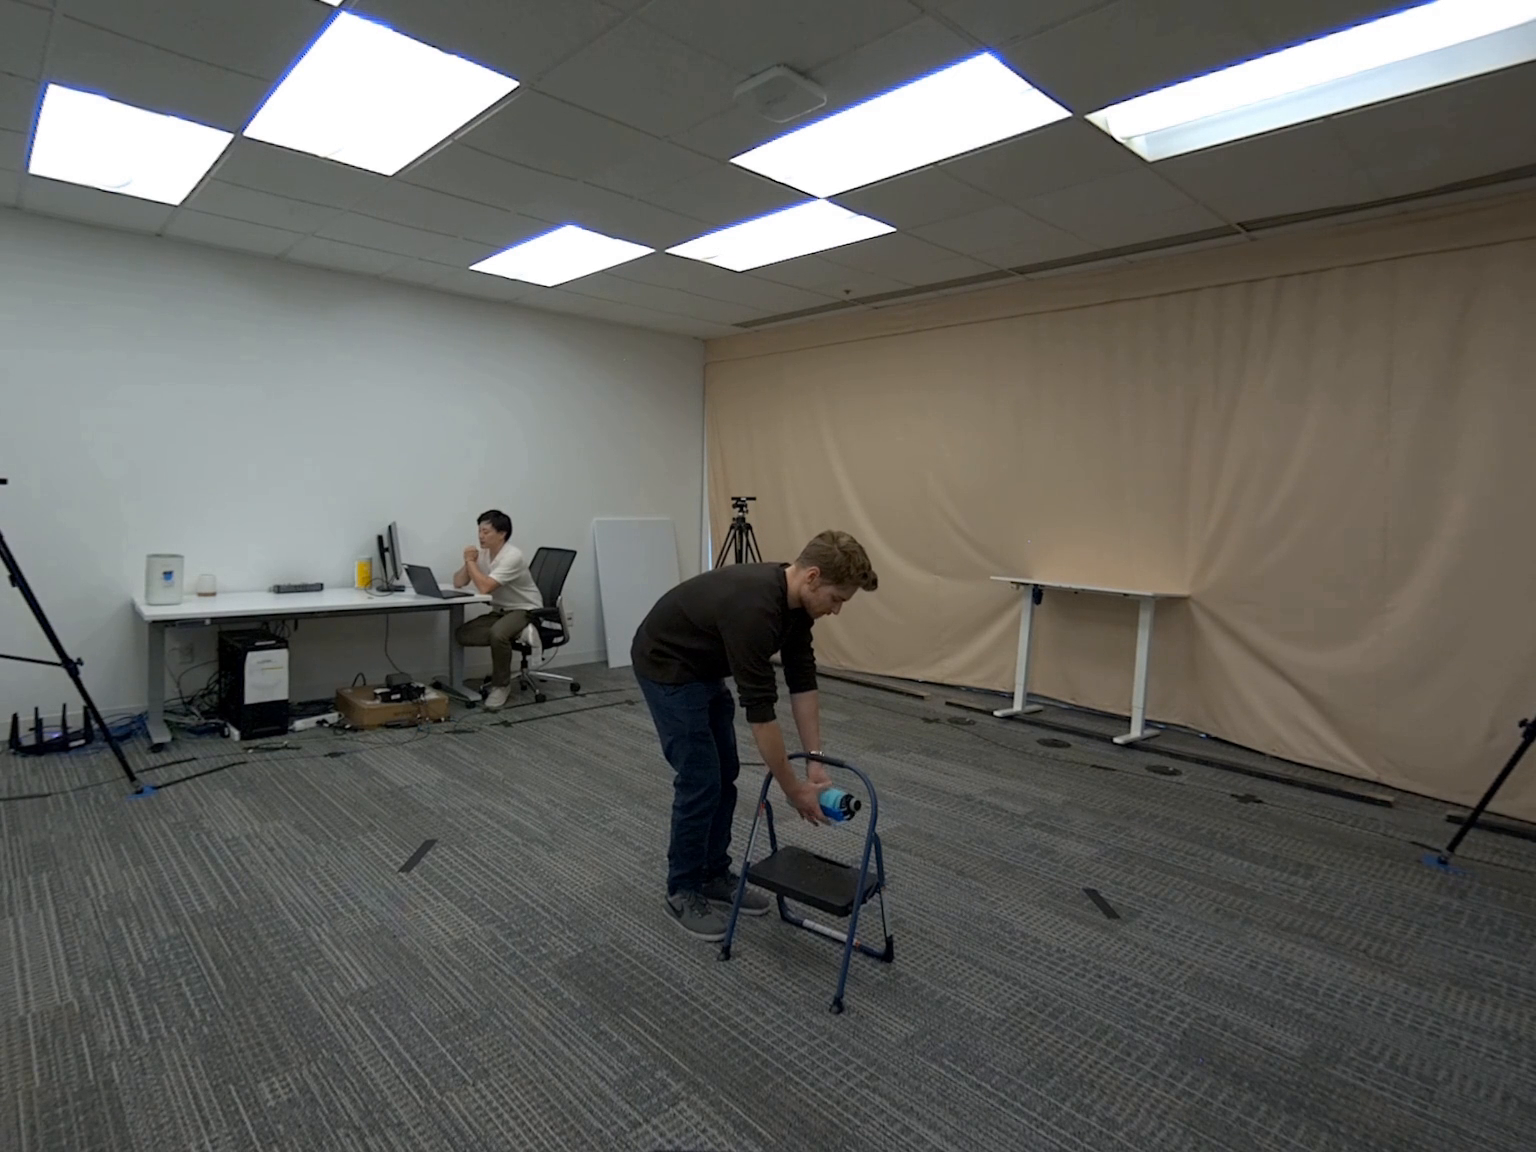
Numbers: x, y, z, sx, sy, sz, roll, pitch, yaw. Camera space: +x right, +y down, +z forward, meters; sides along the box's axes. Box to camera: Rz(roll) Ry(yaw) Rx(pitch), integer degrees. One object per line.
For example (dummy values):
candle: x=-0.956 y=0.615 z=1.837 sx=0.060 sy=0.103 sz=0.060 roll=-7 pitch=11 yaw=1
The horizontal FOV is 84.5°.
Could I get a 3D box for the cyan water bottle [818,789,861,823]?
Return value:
cyan water bottle: x=0.165 y=0.711 z=2.661 sx=0.090 sy=0.092 sz=0.289 roll=-2 pitch=-1 yaw=-37
